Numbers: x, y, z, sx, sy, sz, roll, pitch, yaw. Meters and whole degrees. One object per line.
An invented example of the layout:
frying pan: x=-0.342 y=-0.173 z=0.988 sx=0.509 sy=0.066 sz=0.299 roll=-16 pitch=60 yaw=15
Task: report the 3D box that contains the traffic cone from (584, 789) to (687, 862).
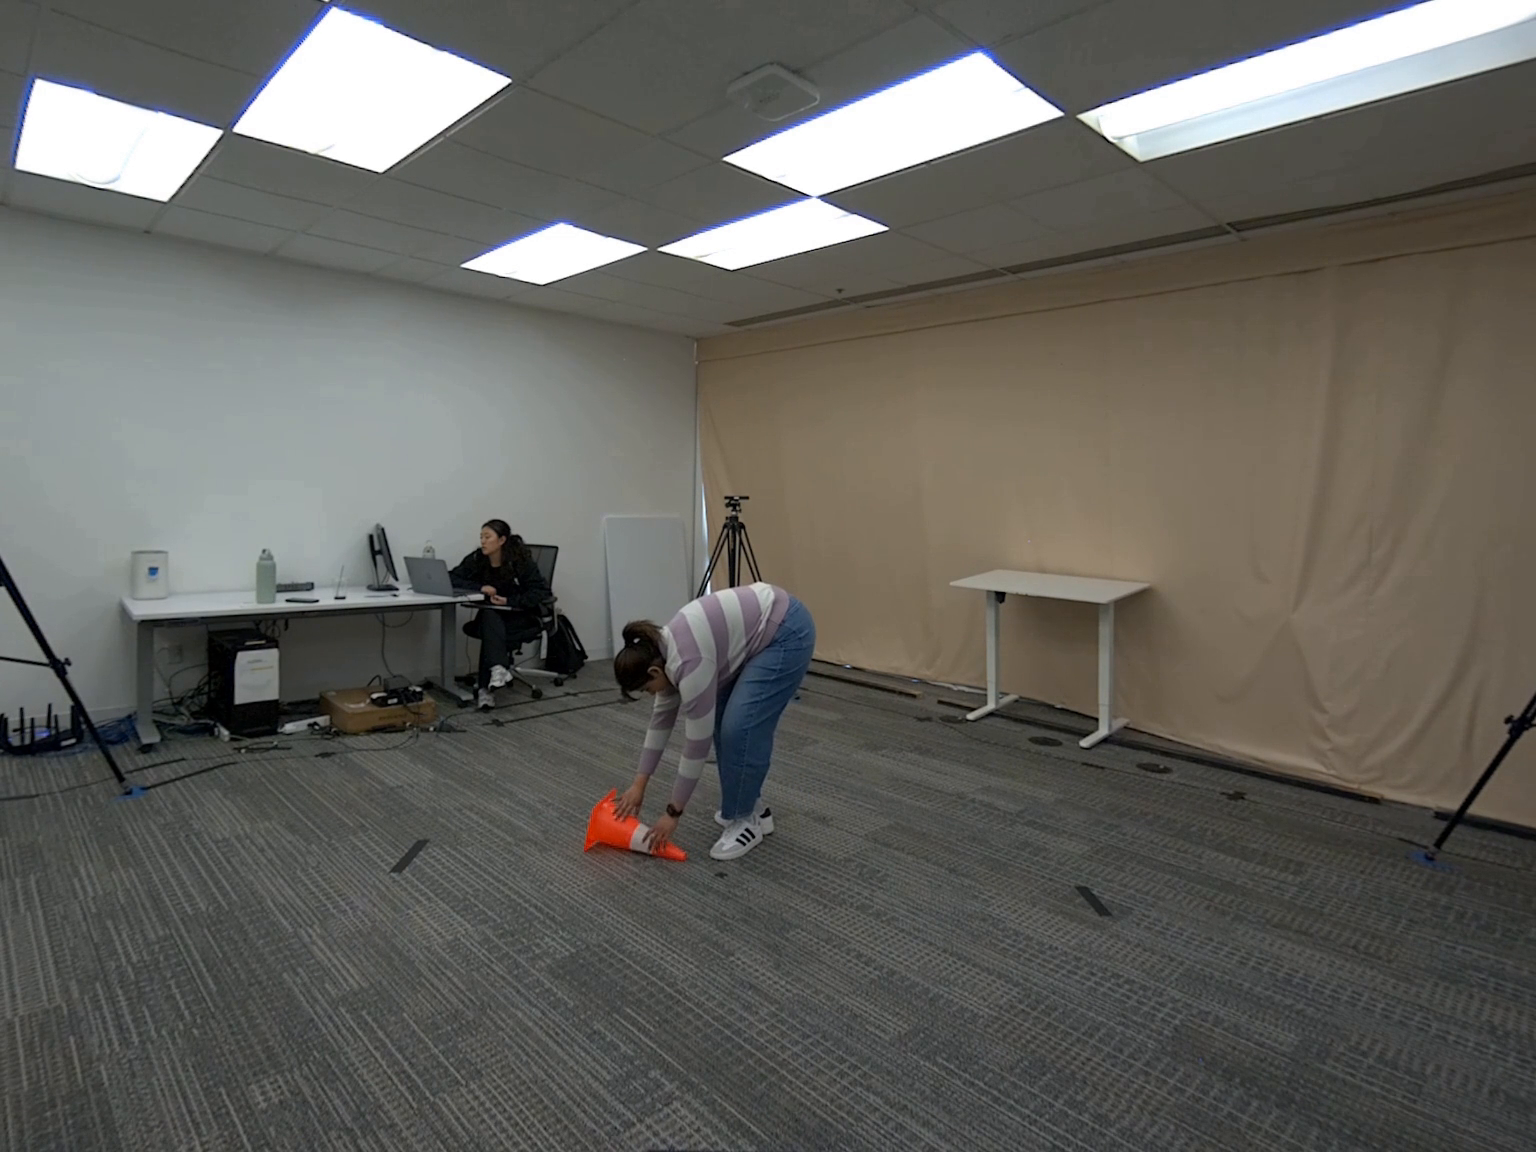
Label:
traffic cone: x=-0.492 y=1.013 z=3.289 sx=0.390 sy=0.203 sz=0.202 roll=15 pitch=17 yaw=18
